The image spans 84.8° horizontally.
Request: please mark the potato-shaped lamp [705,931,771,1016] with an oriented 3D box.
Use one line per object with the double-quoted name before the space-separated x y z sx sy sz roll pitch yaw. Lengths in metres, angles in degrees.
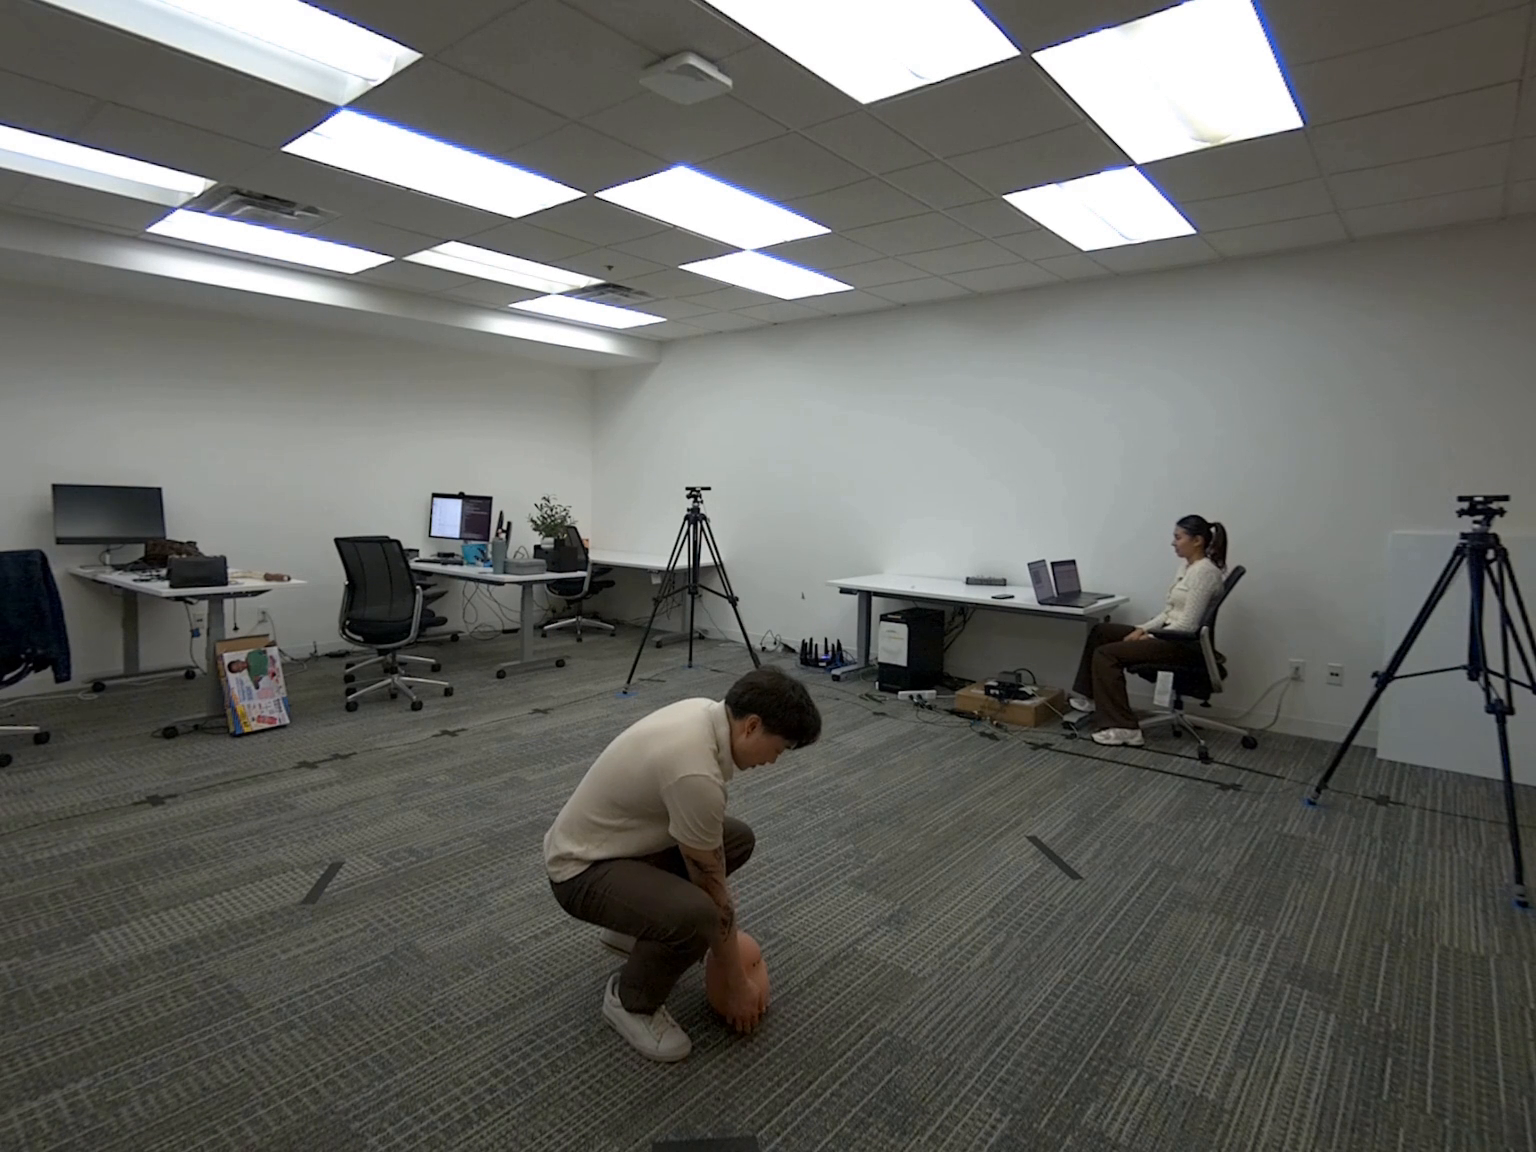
"potato-shaped lamp" -0.081 1.047 2.261 0.176 0.198 0.160 4 1 25
